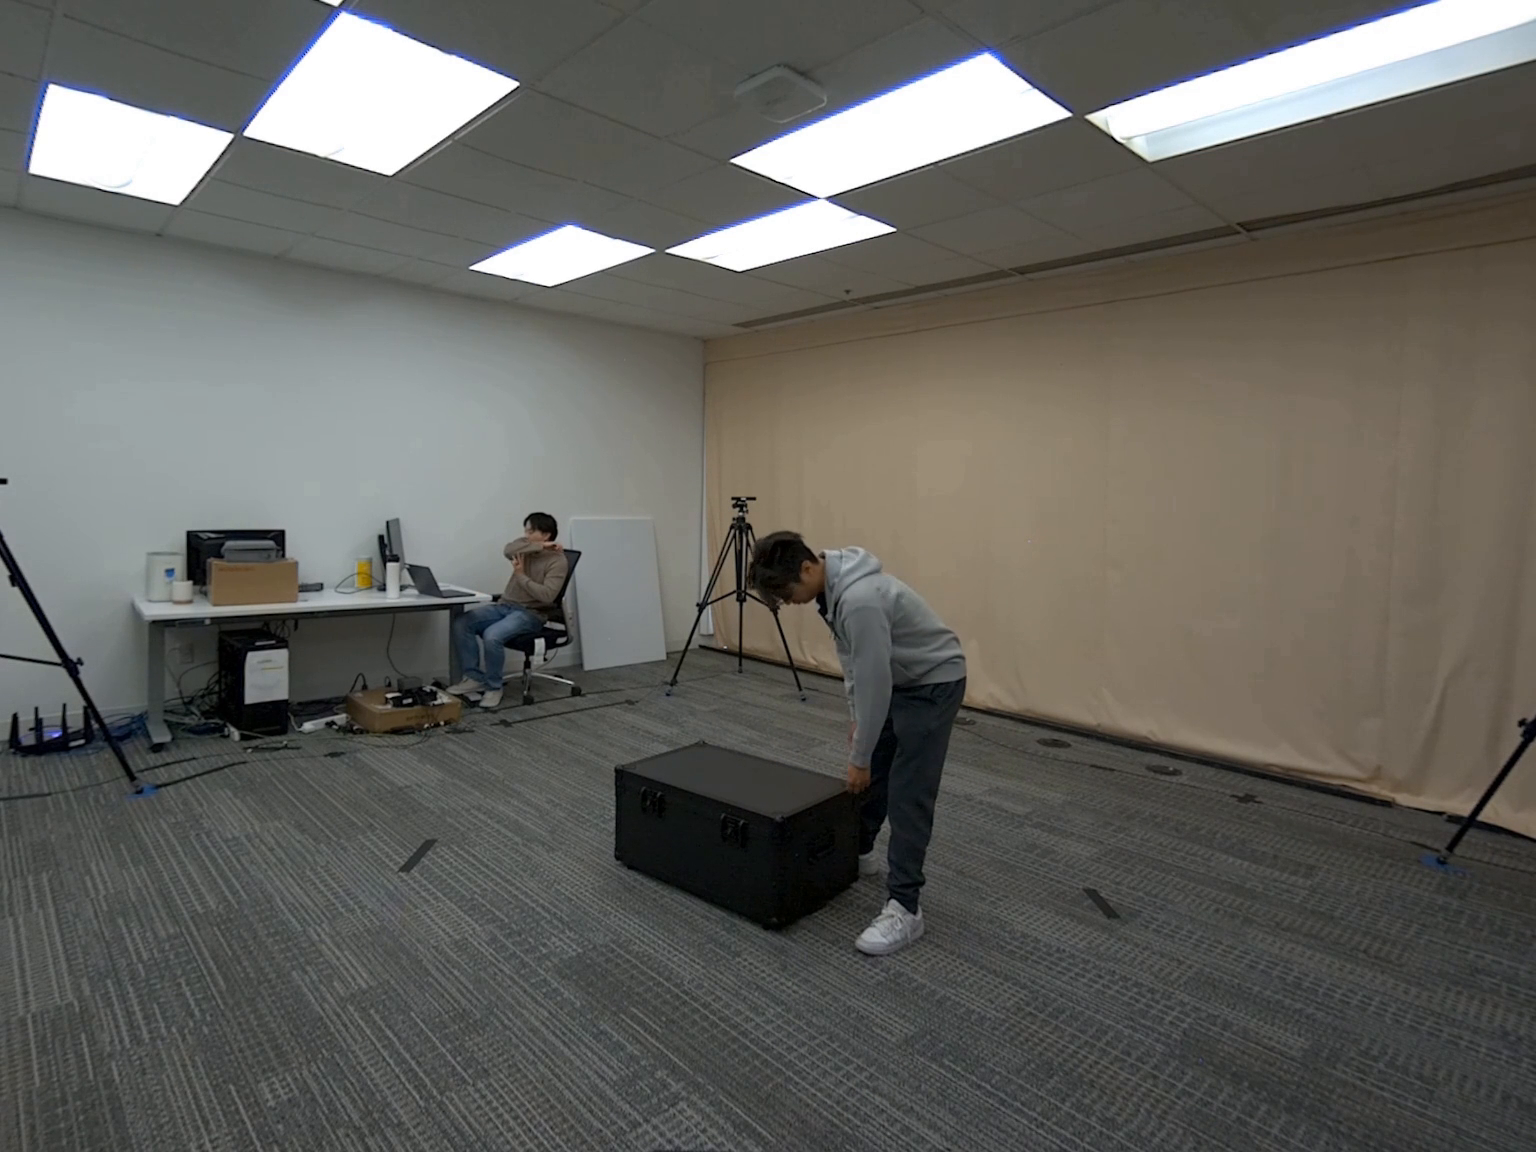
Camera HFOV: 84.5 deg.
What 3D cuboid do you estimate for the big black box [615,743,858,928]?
[{"bbox_3d":[-0.153,0.916,3.123,0.883,0.395,0.510,6,6,39],"label":"big black box"}]
